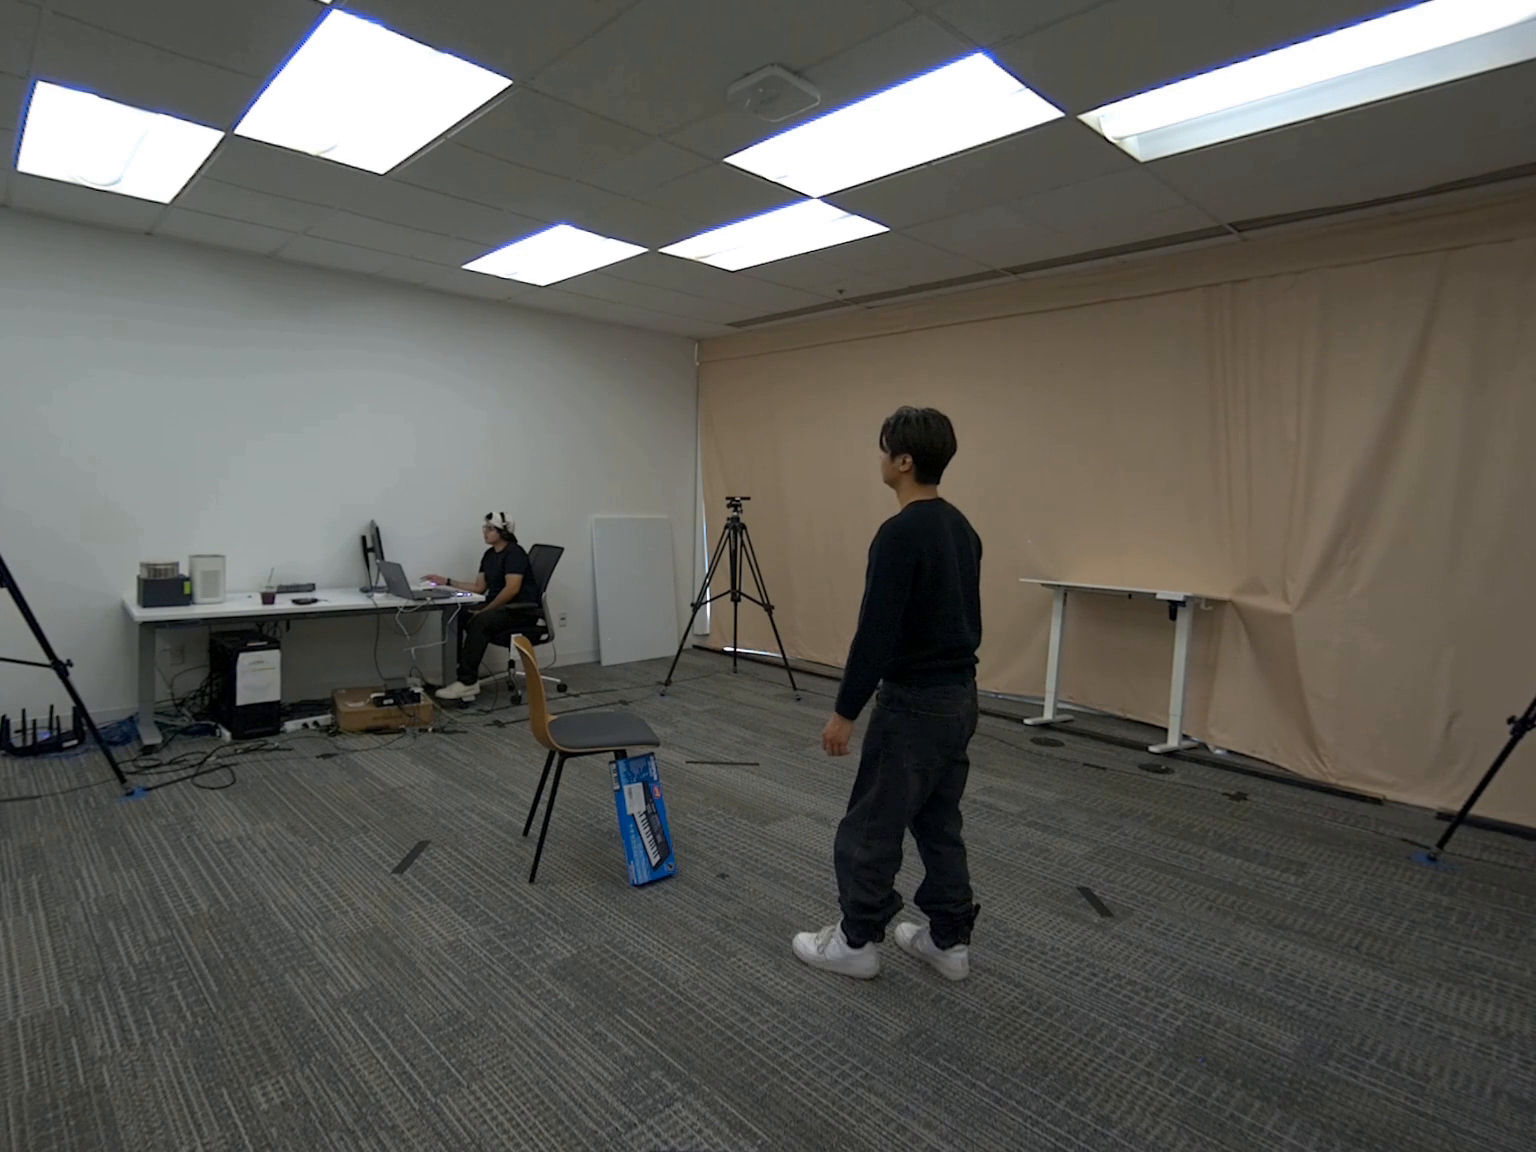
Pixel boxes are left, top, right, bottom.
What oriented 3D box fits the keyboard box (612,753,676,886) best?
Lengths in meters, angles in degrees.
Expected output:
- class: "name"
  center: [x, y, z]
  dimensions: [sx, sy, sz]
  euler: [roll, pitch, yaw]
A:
- class: "keyboard box"
  center: [-0.470, 0.889, 3.096]
  dimensions: [0.172, 0.442, 0.060]
  euler: [-2, -16, -41]
